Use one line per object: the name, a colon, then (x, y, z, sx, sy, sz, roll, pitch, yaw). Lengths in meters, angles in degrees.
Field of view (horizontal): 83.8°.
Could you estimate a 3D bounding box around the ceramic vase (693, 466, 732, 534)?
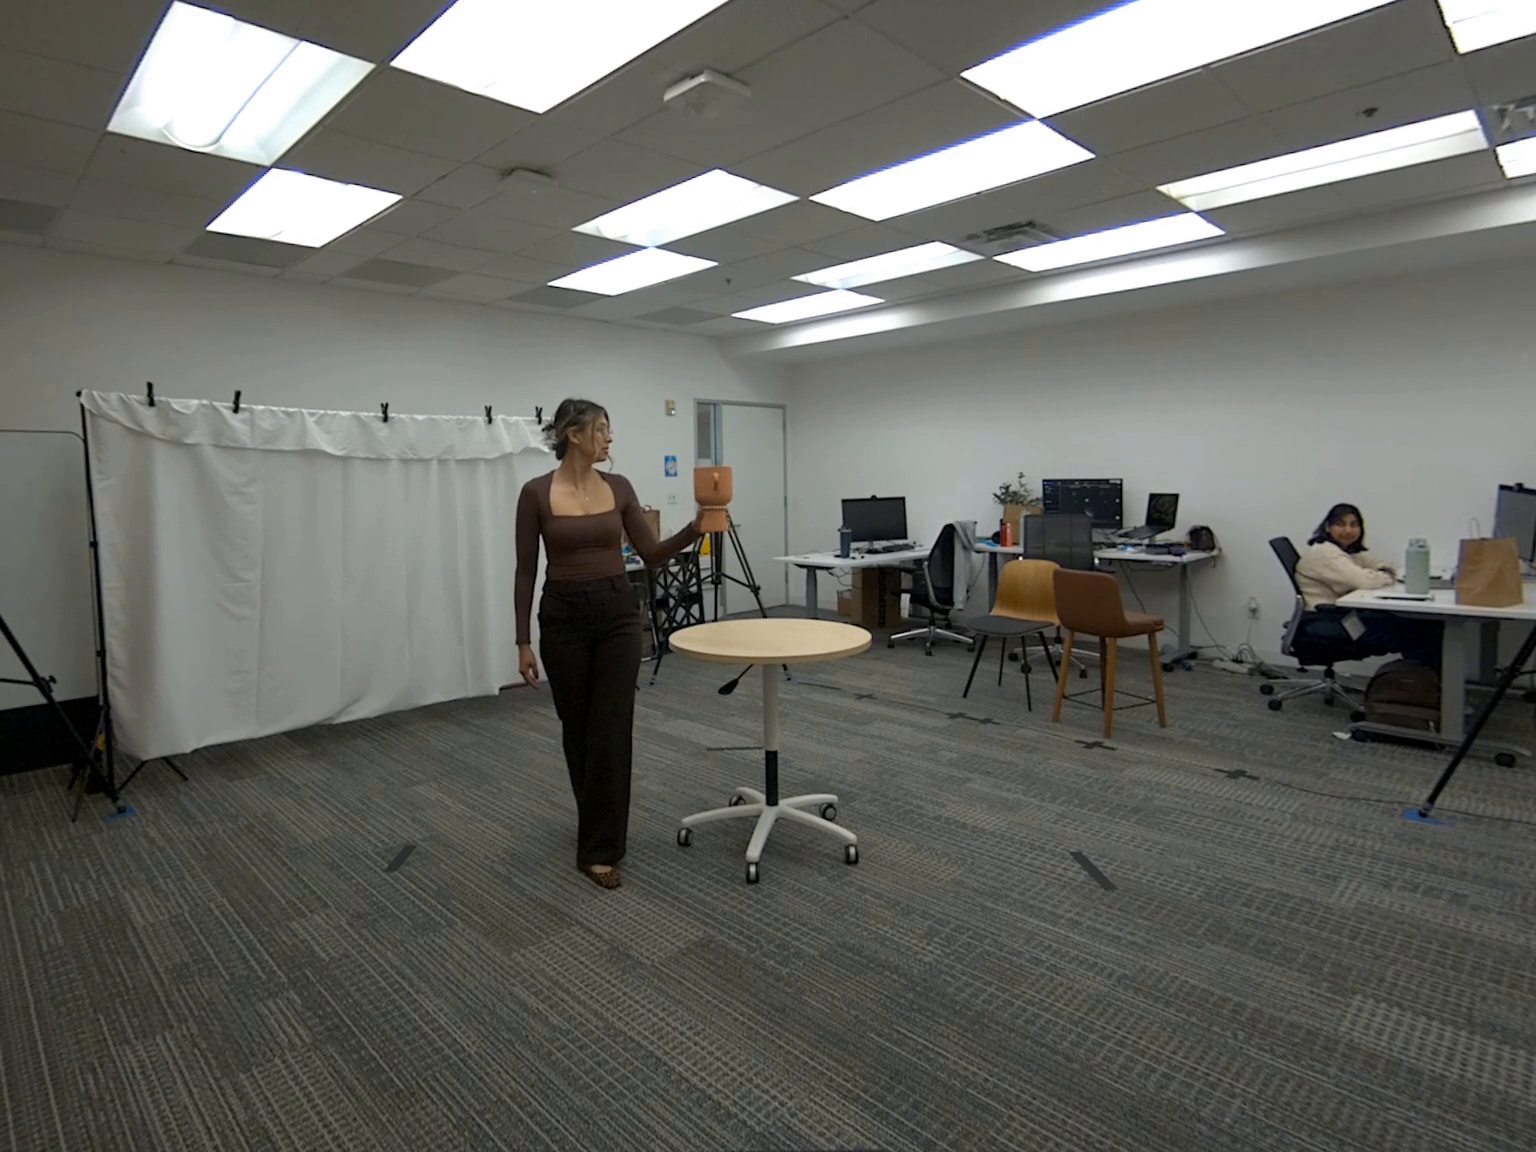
ceramic vase: (-0.185, -0.265, 2.935, 0.138, 0.218, 0.155, 5, 8, 34)
